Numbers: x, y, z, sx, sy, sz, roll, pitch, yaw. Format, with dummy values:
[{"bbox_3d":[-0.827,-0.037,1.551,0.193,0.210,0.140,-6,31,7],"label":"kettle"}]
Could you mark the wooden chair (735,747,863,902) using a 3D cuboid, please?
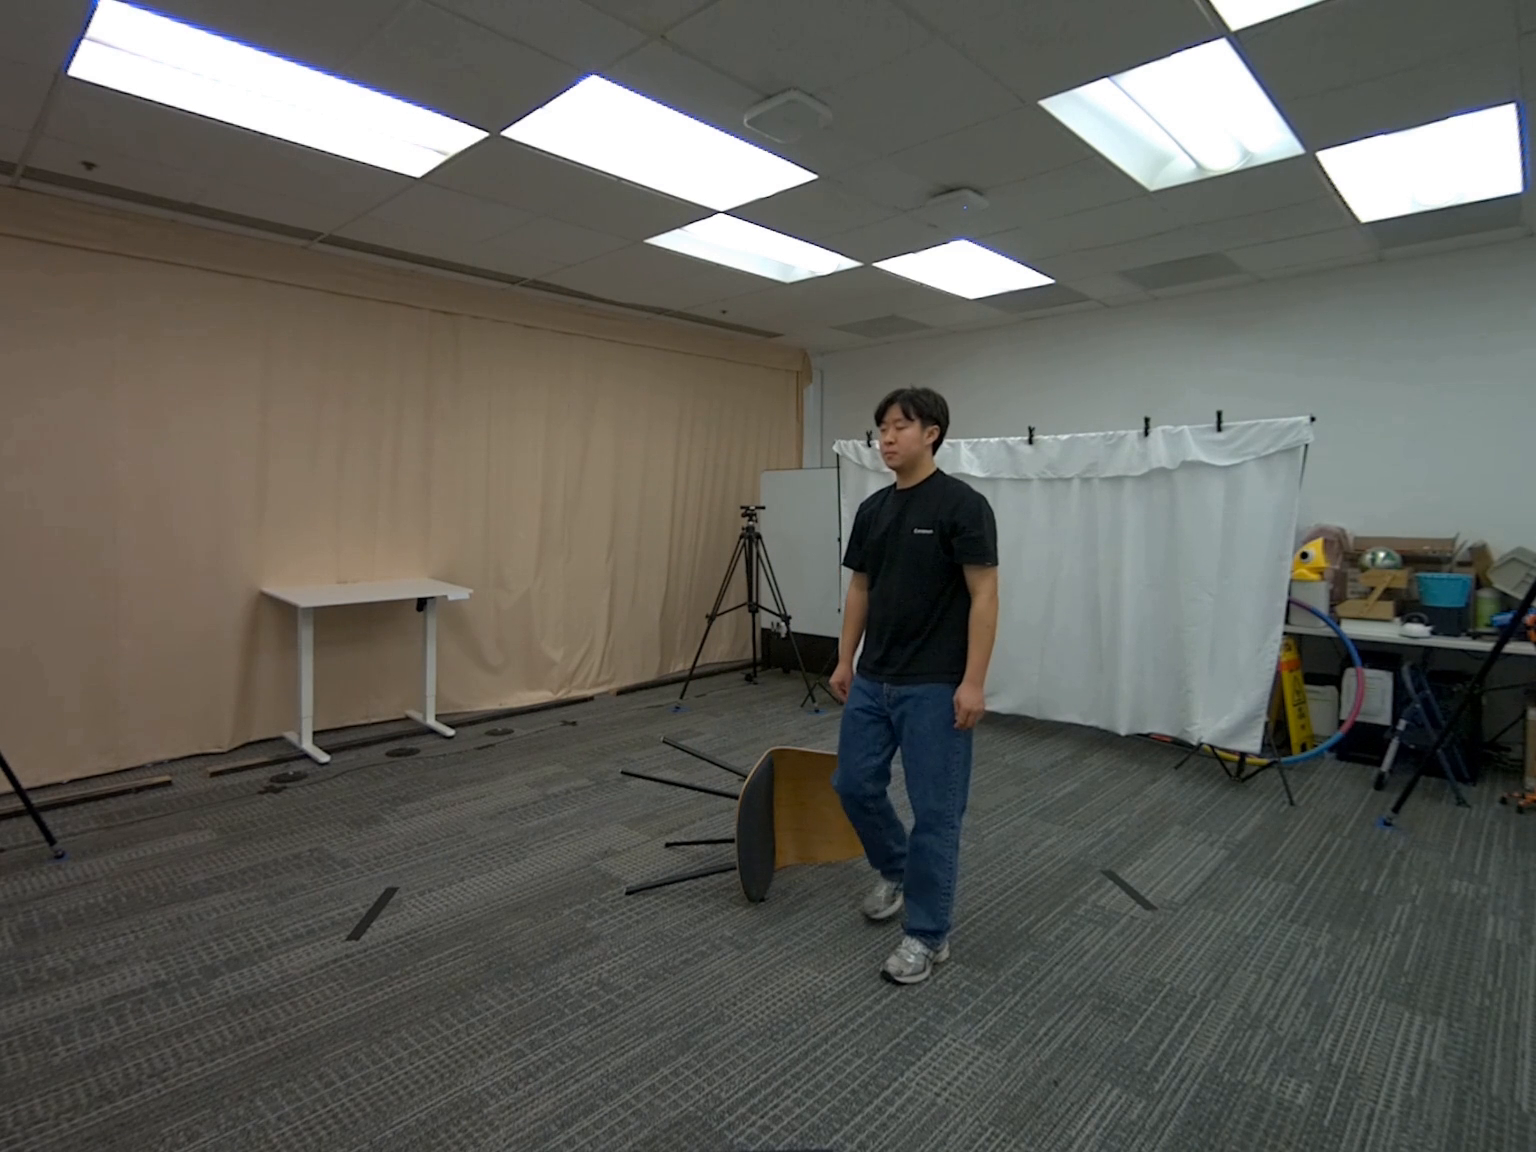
[{"bbox_3d":[-0.051,0.900,3.110,0.888,0.477,0.518,1,3,11],"label":"wooden chair"}]
